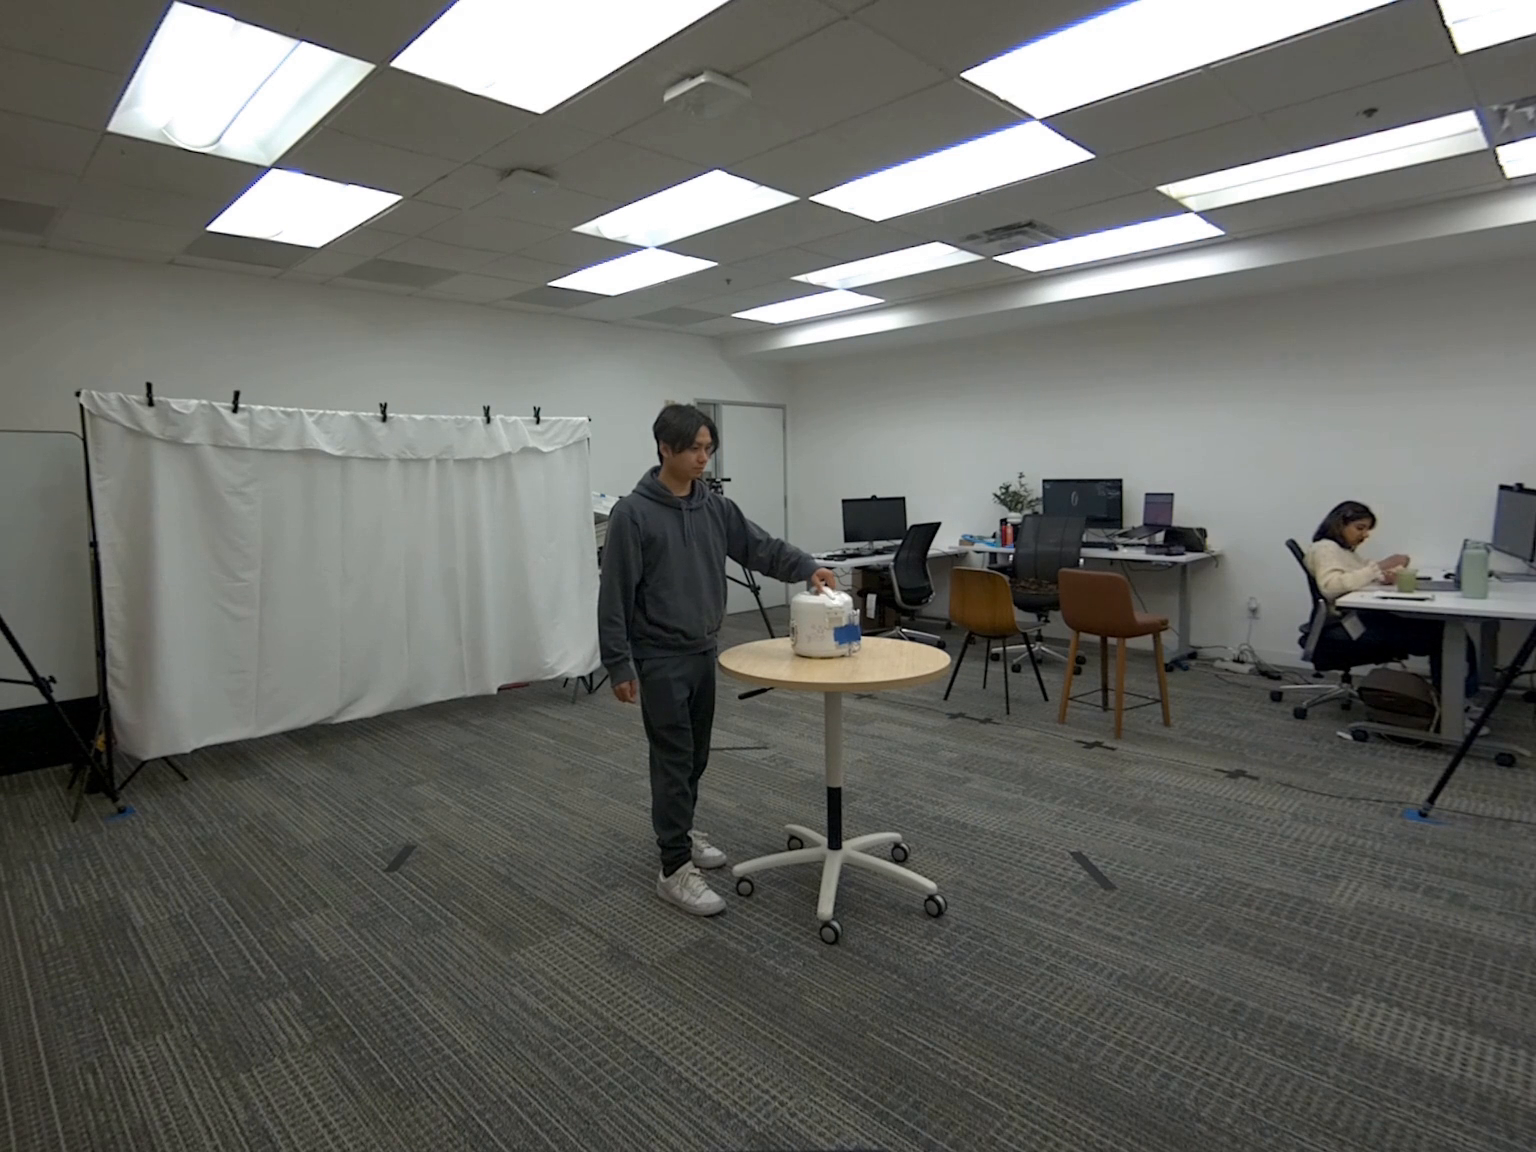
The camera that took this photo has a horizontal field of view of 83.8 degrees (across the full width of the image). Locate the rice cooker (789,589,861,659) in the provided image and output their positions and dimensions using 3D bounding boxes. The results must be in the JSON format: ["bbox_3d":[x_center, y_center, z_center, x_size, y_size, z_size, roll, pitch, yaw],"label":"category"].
[{"bbox_3d":[0.180,0.150,2.888,0.214,0.232,0.225,-2,4,-19],"label":"rice cooker"}]
